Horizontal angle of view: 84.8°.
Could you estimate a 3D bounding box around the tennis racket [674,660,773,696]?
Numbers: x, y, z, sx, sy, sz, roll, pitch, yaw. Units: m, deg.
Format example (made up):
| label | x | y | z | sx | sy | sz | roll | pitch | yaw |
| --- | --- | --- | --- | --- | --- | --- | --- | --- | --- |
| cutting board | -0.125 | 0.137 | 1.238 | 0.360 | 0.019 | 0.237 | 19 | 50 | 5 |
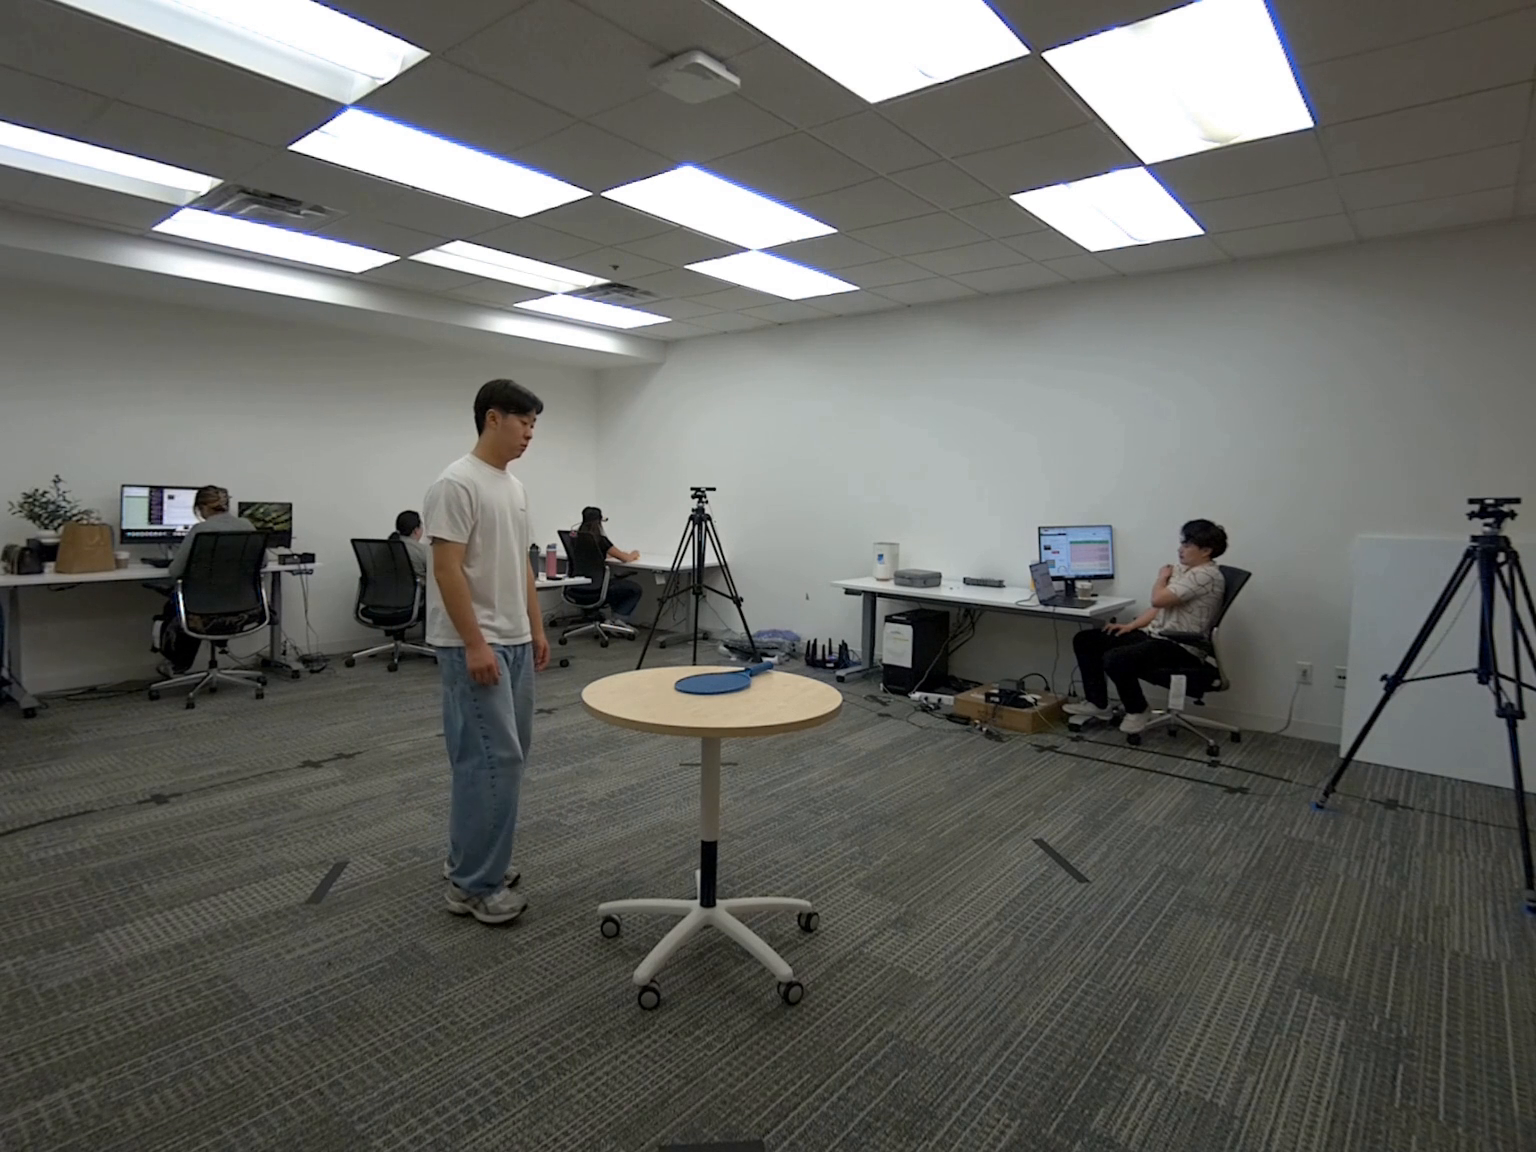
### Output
| label | x | y | z | sx | sy | sz | roll | pitch | yaw |
| --- | --- | --- | --- | --- | --- | --- | --- | --- | --- |
| tennis racket | -0.134 | 0.317 | 2.669 | 0.221 | 0.031 | 0.421 | 6 | 9 | 38 |
